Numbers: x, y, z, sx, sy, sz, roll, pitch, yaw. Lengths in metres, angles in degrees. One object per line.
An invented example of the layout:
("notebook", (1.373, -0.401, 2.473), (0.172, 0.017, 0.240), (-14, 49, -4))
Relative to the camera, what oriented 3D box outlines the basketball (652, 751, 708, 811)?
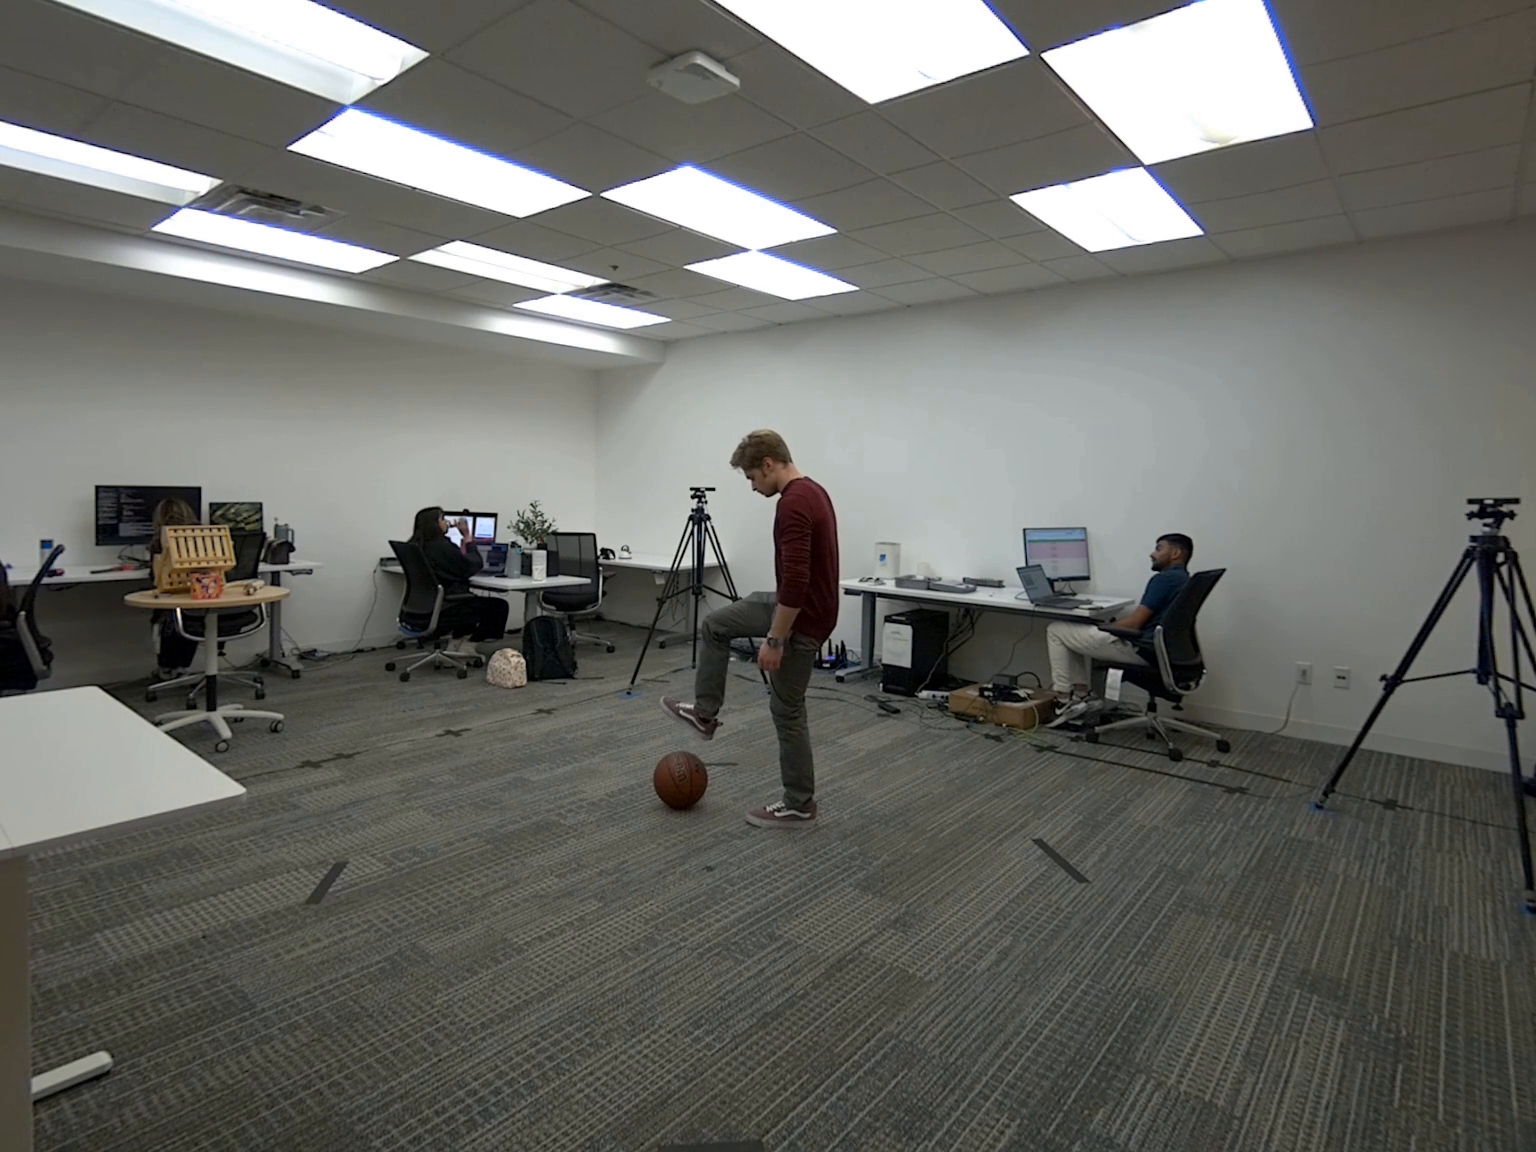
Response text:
("basketball", (-0.393, 0.886, 3.715), (0.235, 0.235, 0.237), (1, 4, -2))
